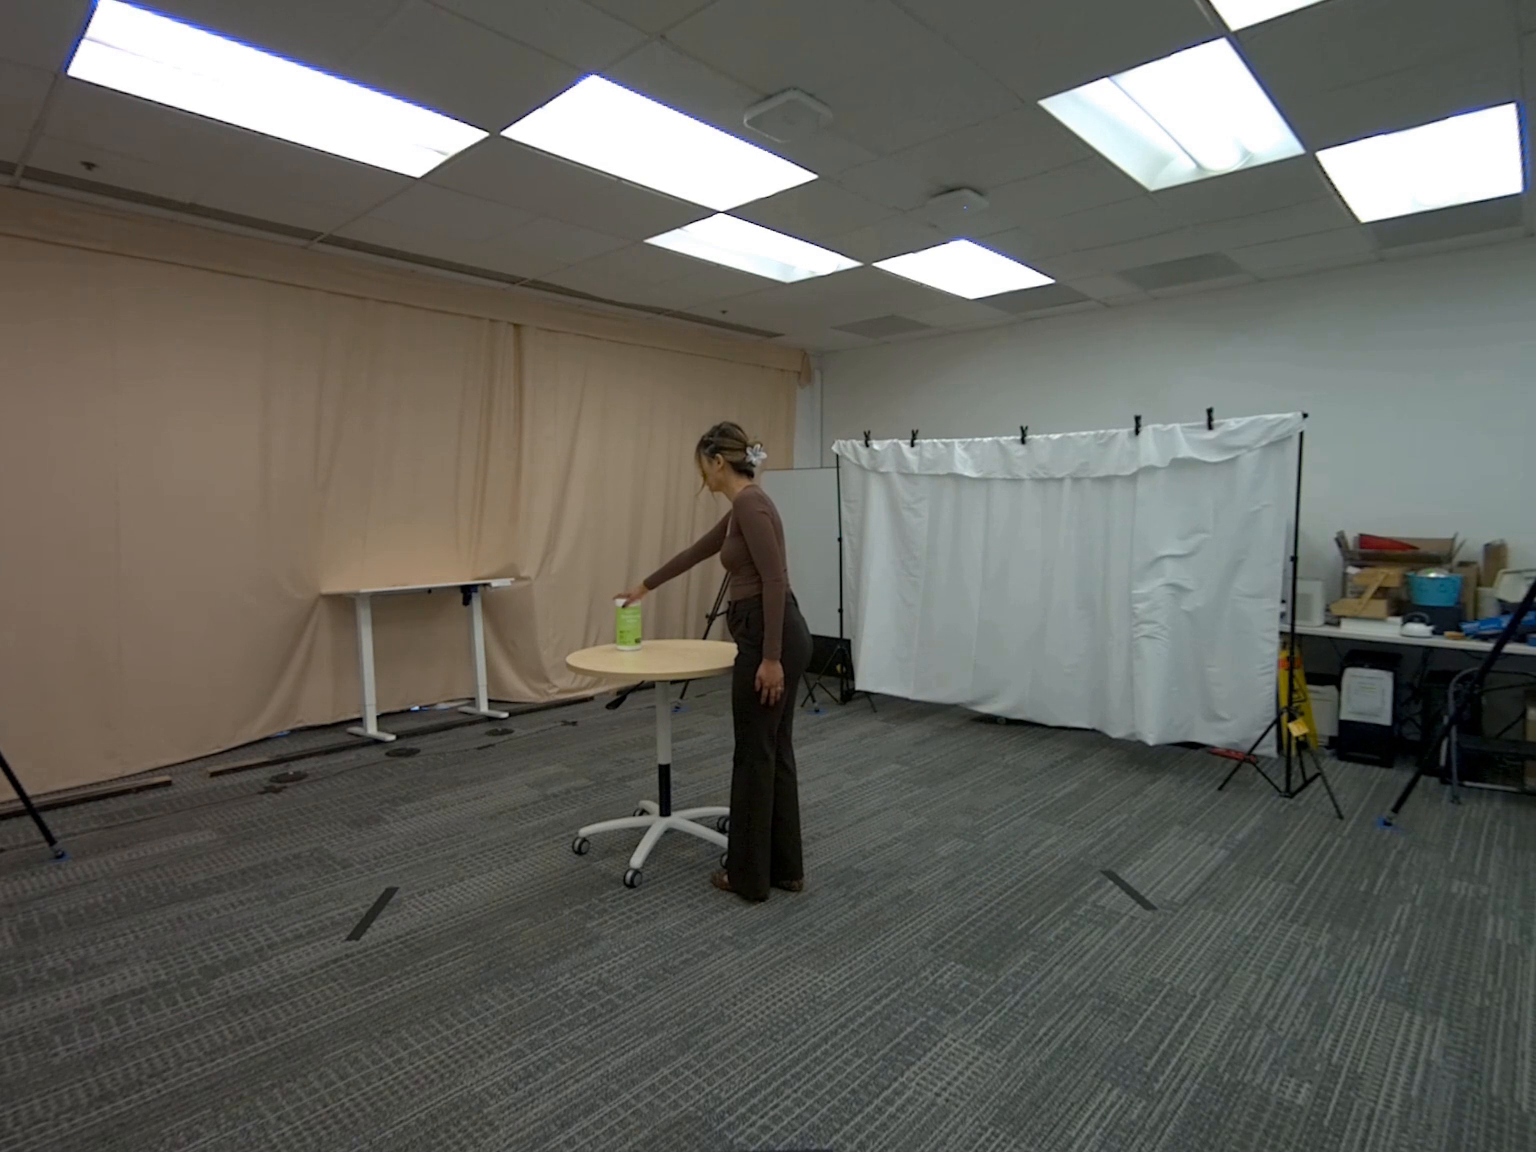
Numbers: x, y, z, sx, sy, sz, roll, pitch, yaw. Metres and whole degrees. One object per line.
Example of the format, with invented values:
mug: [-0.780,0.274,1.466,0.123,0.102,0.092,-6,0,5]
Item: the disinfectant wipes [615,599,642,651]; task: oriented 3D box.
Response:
disinfectant wipes: [-0.587,0.201,3.539,0.117,0.217,0.118,1,4,-2]
